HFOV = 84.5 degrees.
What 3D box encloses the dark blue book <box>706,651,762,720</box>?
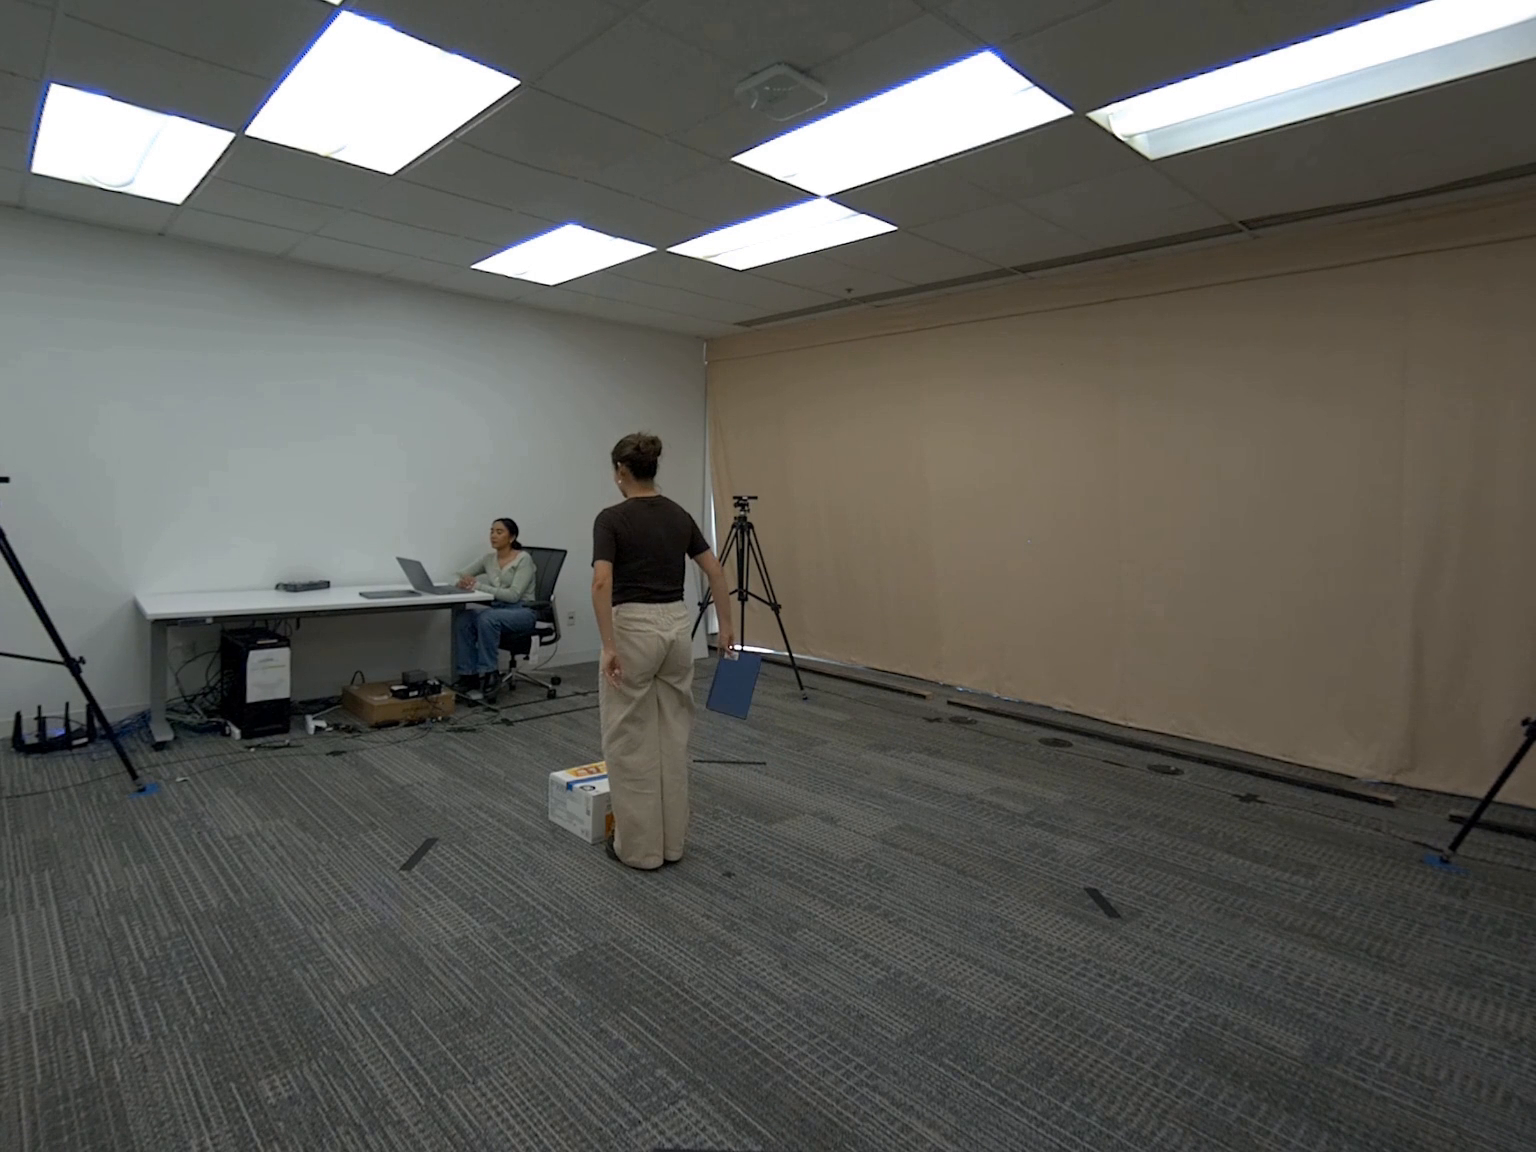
[{"bbox_3d":[-0.151,0.414,3.268,0.163,0.247,0.045,15,-18,1],"label":"dark blue book"}]
